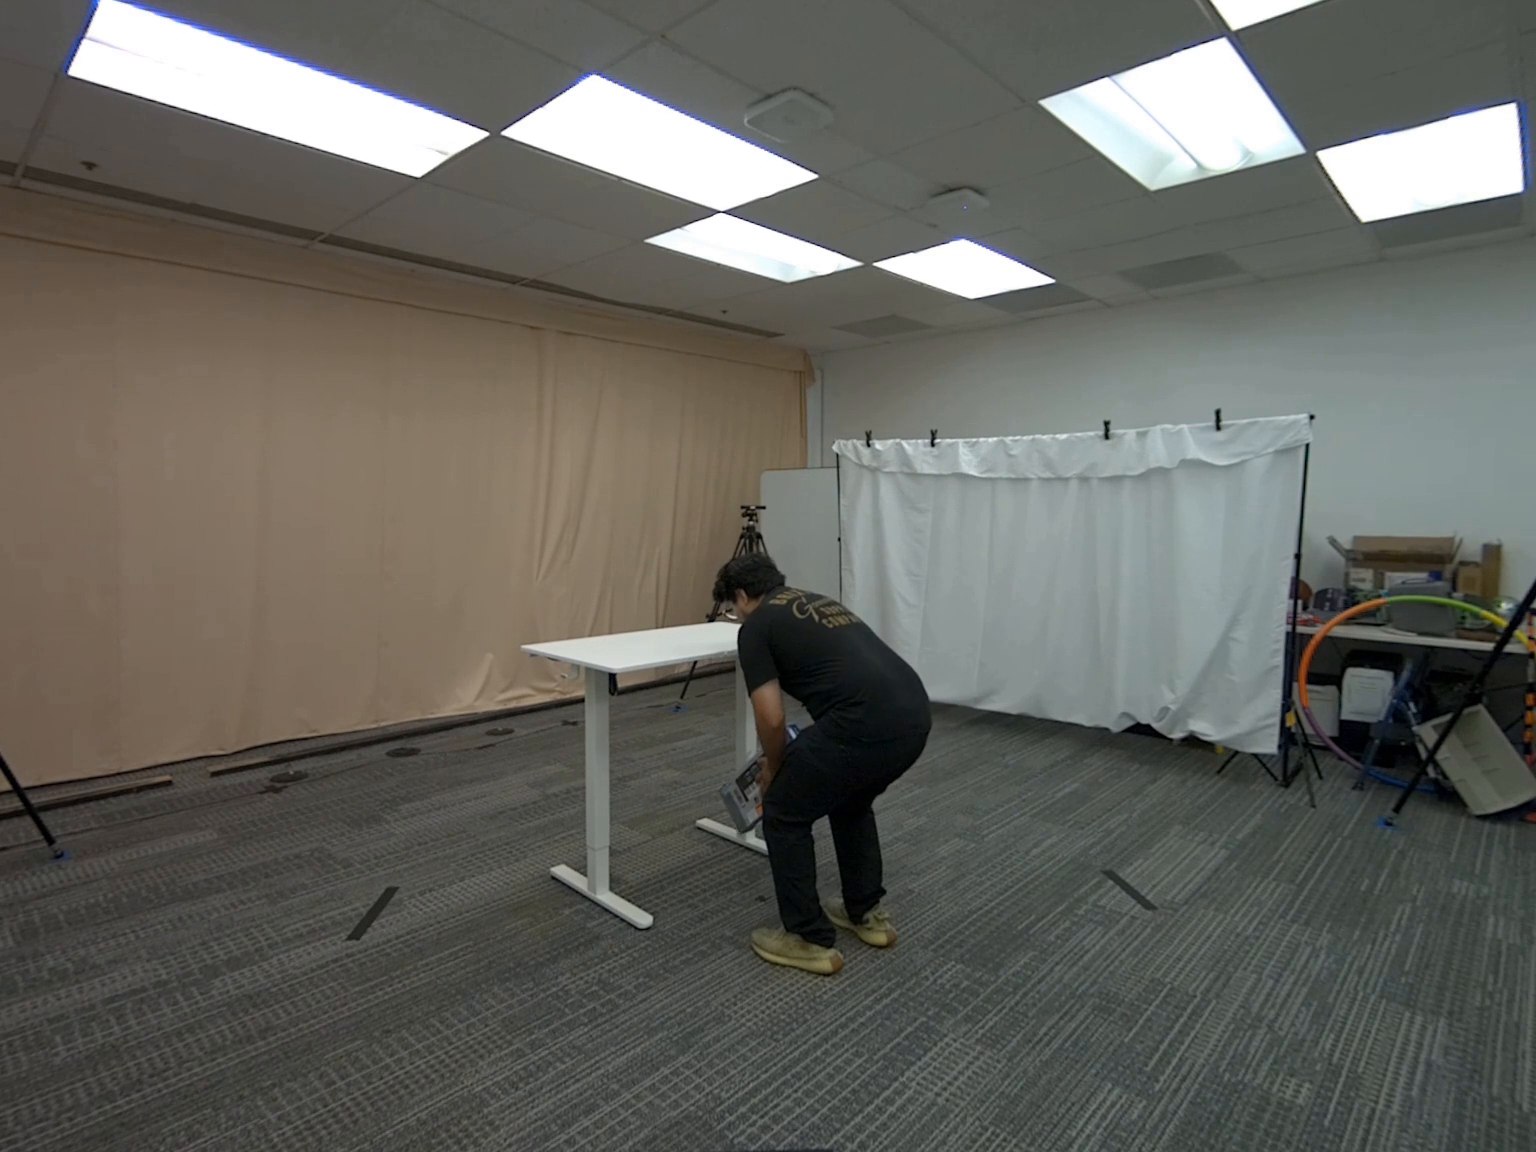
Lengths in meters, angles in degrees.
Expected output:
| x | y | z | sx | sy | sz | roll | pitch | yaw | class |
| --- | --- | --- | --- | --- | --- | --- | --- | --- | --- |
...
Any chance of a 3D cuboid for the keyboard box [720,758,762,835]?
| x | y | z | sx | sy | sz | roll | pitch | yaw | class |
| --- | --- | --- | --- | --- | --- | --- | --- | --- | --- |
| -0.002 | 0.698 | 2.860 | 0.057 | 0.181 | 0.438 | -3 | -38 | -44 | keyboard box |
